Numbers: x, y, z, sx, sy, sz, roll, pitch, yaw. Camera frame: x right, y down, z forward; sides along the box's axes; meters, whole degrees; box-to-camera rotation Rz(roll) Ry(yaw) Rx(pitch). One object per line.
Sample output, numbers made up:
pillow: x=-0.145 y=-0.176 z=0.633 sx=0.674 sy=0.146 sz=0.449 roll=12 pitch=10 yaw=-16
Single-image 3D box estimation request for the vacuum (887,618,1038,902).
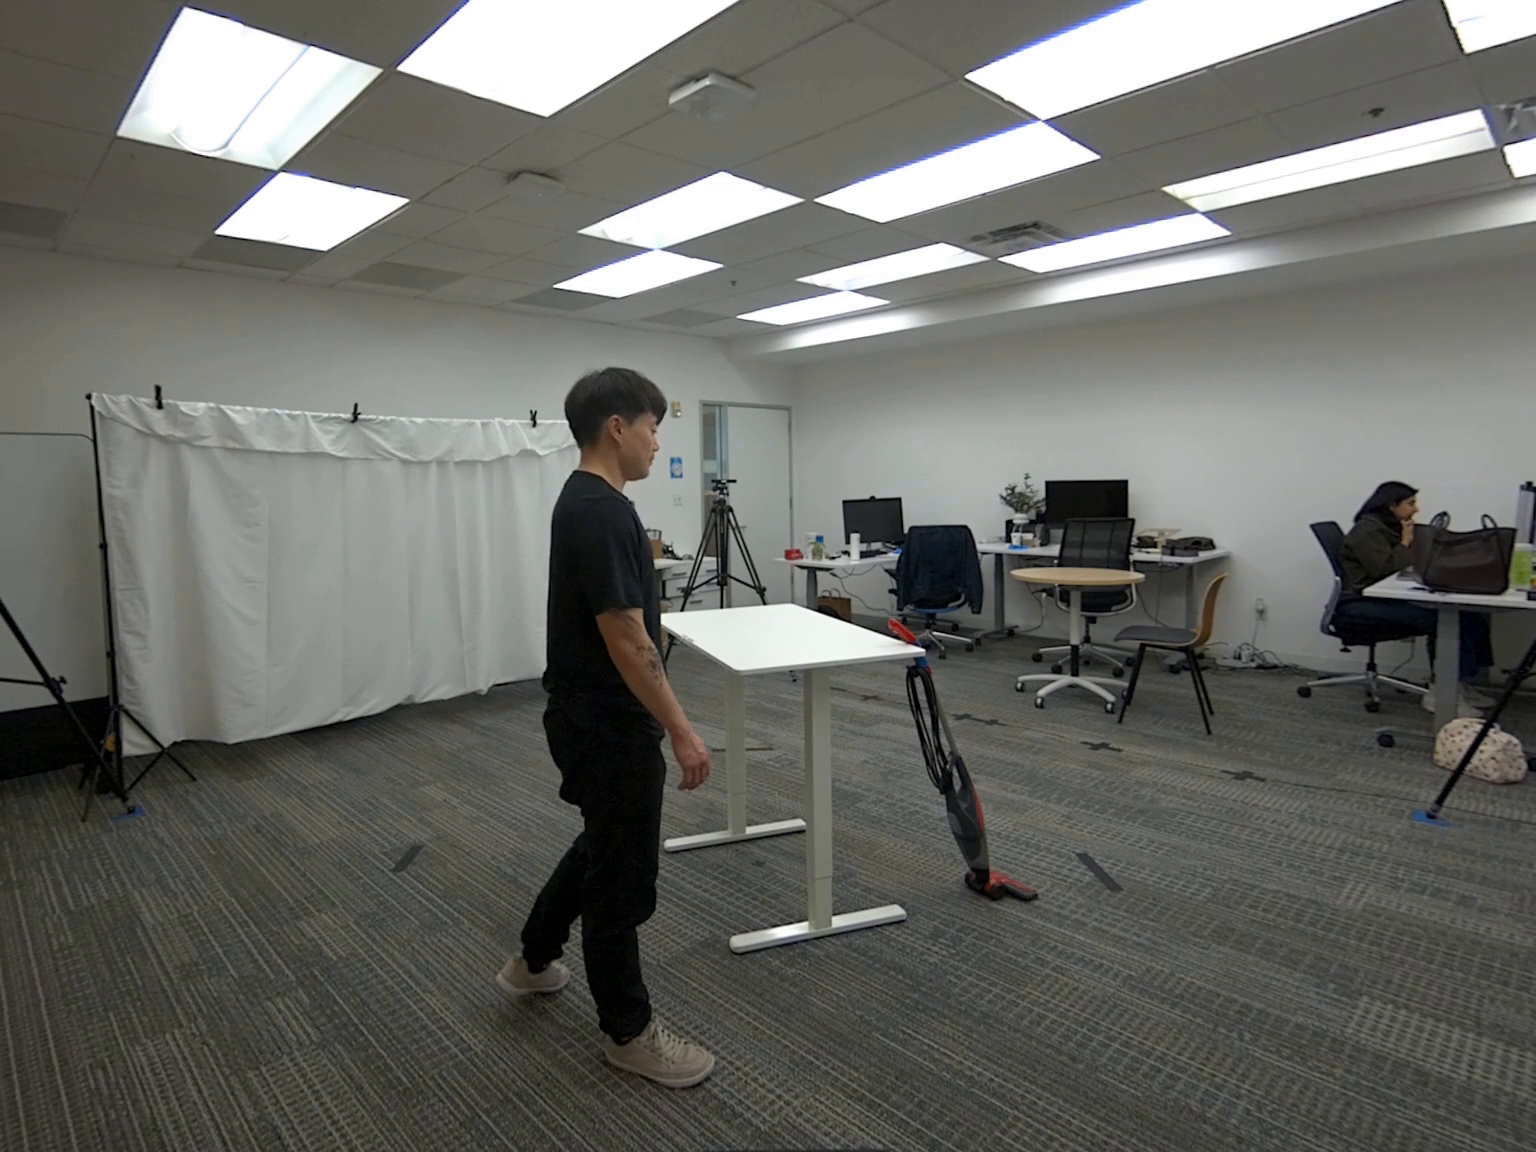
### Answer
vacuum: x=0.582 y=0.596 z=2.746 sx=0.142 sy=1.029 sz=0.260 roll=-32 pitch=19 yaw=-32
